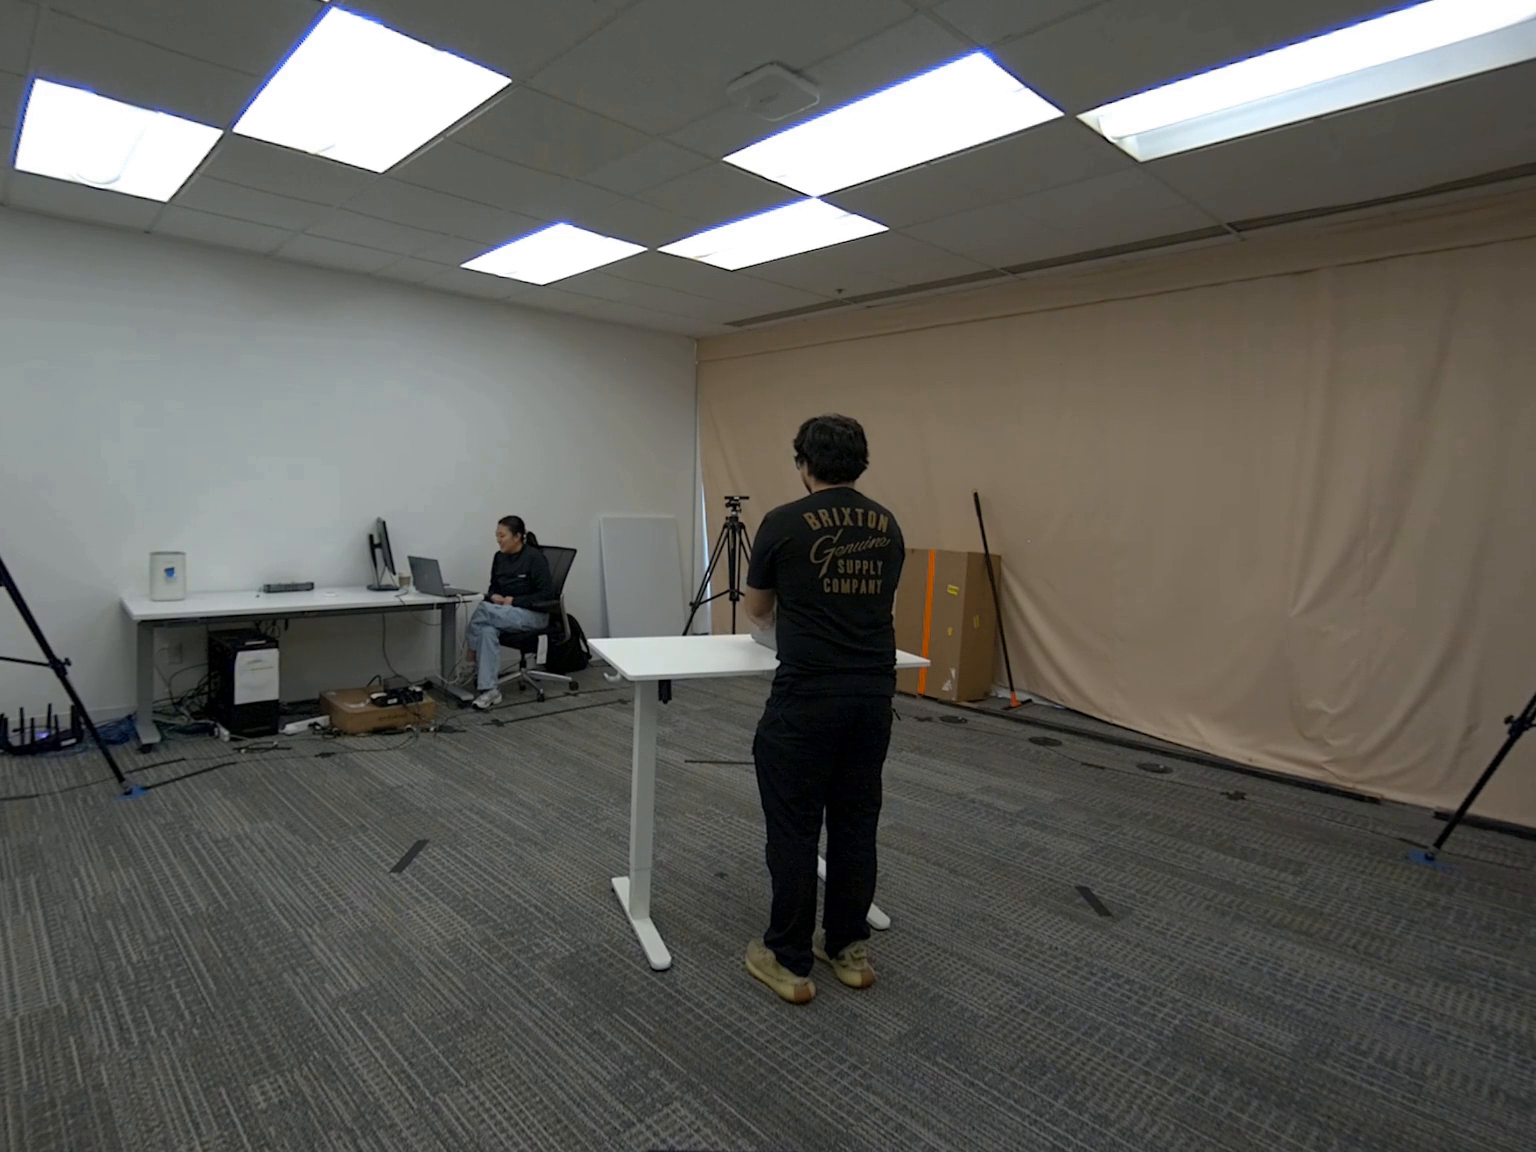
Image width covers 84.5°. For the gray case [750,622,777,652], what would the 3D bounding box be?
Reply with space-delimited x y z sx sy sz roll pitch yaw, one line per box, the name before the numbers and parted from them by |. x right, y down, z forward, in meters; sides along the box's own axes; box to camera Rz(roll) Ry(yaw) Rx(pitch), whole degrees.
gray case | 0.021 0.116 2.882 0.103 0.259 0.262 -7 9 -20
